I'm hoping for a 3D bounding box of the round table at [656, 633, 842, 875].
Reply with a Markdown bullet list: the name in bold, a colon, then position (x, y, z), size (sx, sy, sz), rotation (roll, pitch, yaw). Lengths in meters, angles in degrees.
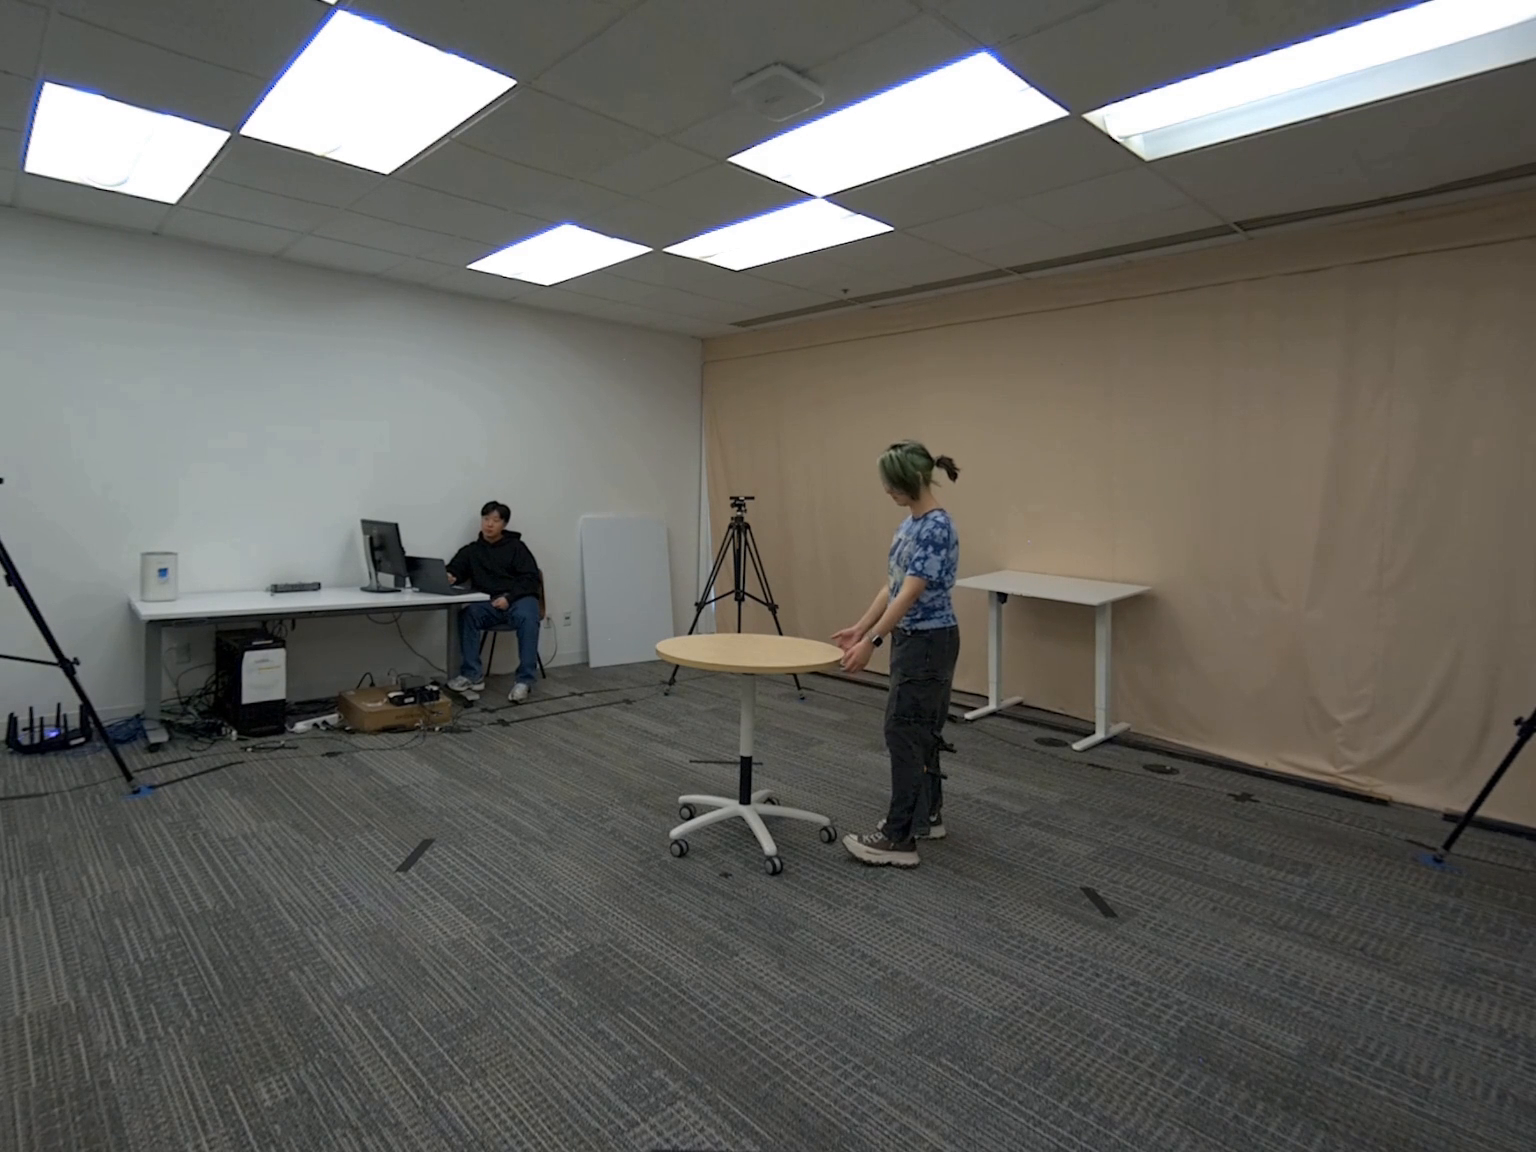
- **round table**: position (-0.090, 0.686, 3.429), size (0.763, 0.792, 0.766), rotation (2, 4, -1)
